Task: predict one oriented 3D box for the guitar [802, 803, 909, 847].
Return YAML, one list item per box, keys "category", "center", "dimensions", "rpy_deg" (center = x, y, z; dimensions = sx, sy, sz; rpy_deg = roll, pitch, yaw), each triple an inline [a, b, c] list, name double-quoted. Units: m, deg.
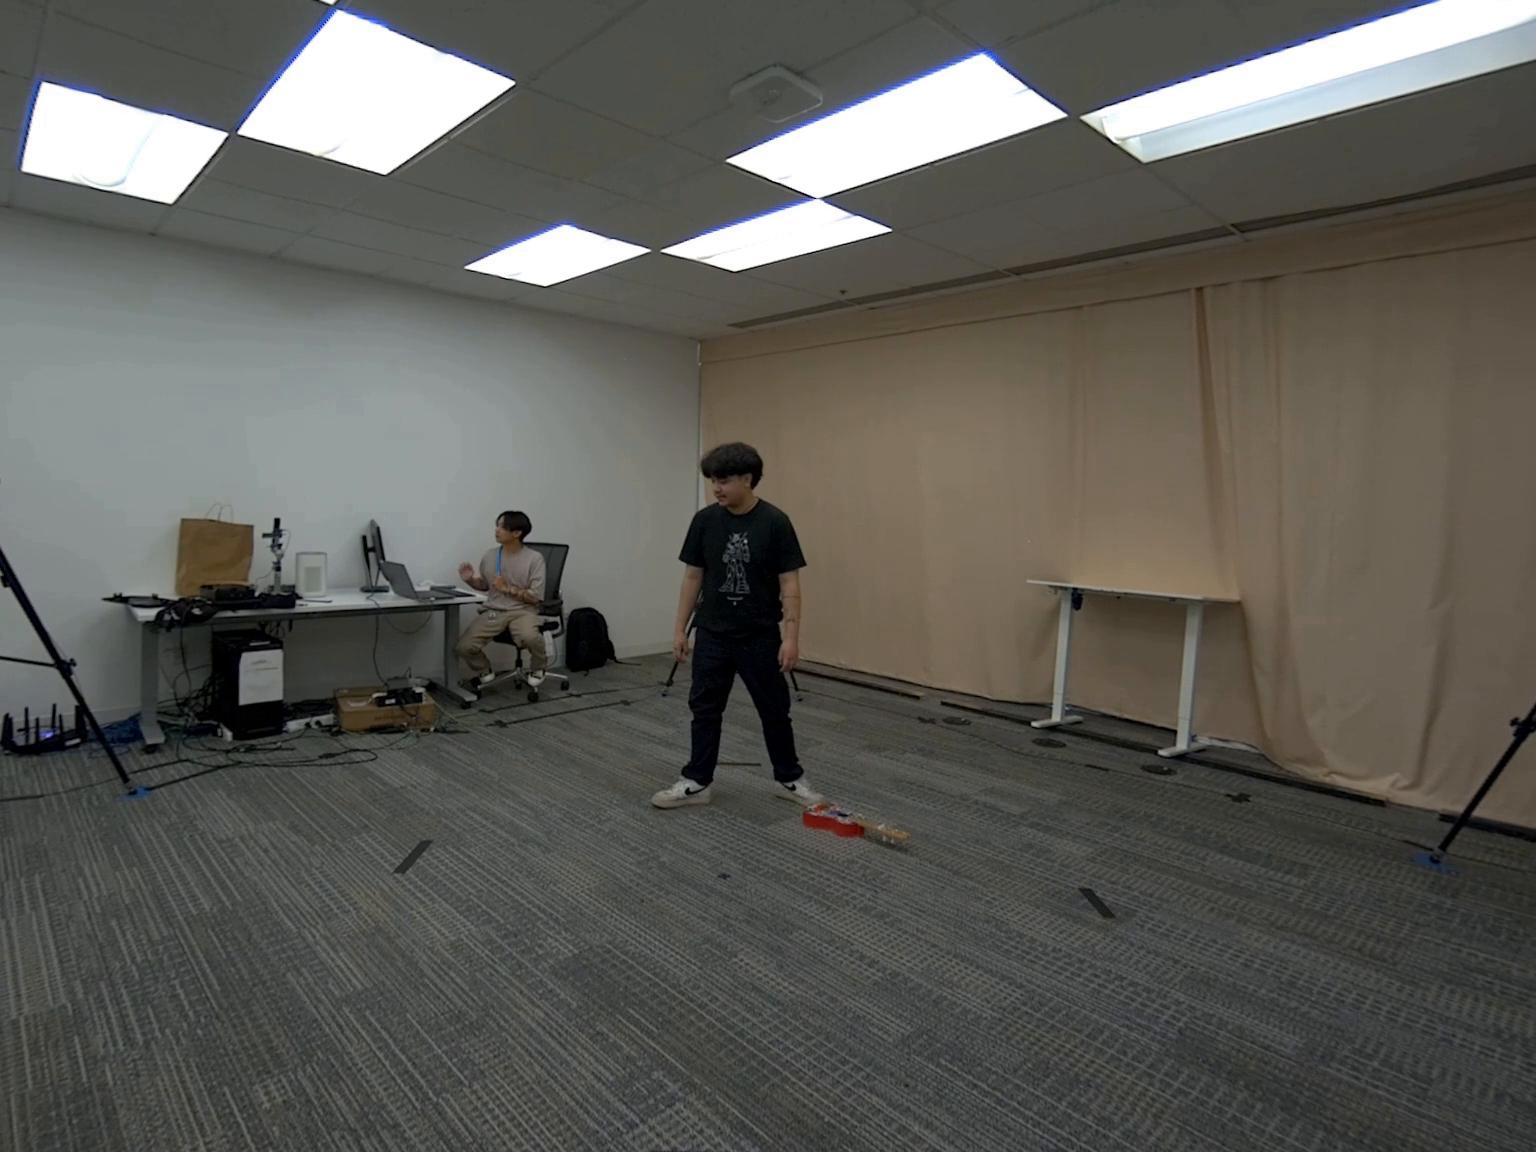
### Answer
- category: "guitar"
  center: [0.336, 1.048, 3.523]
  dimensions: [0.188, 0.070, 0.510]
  rpy_deg: [-1, 4, -38]
